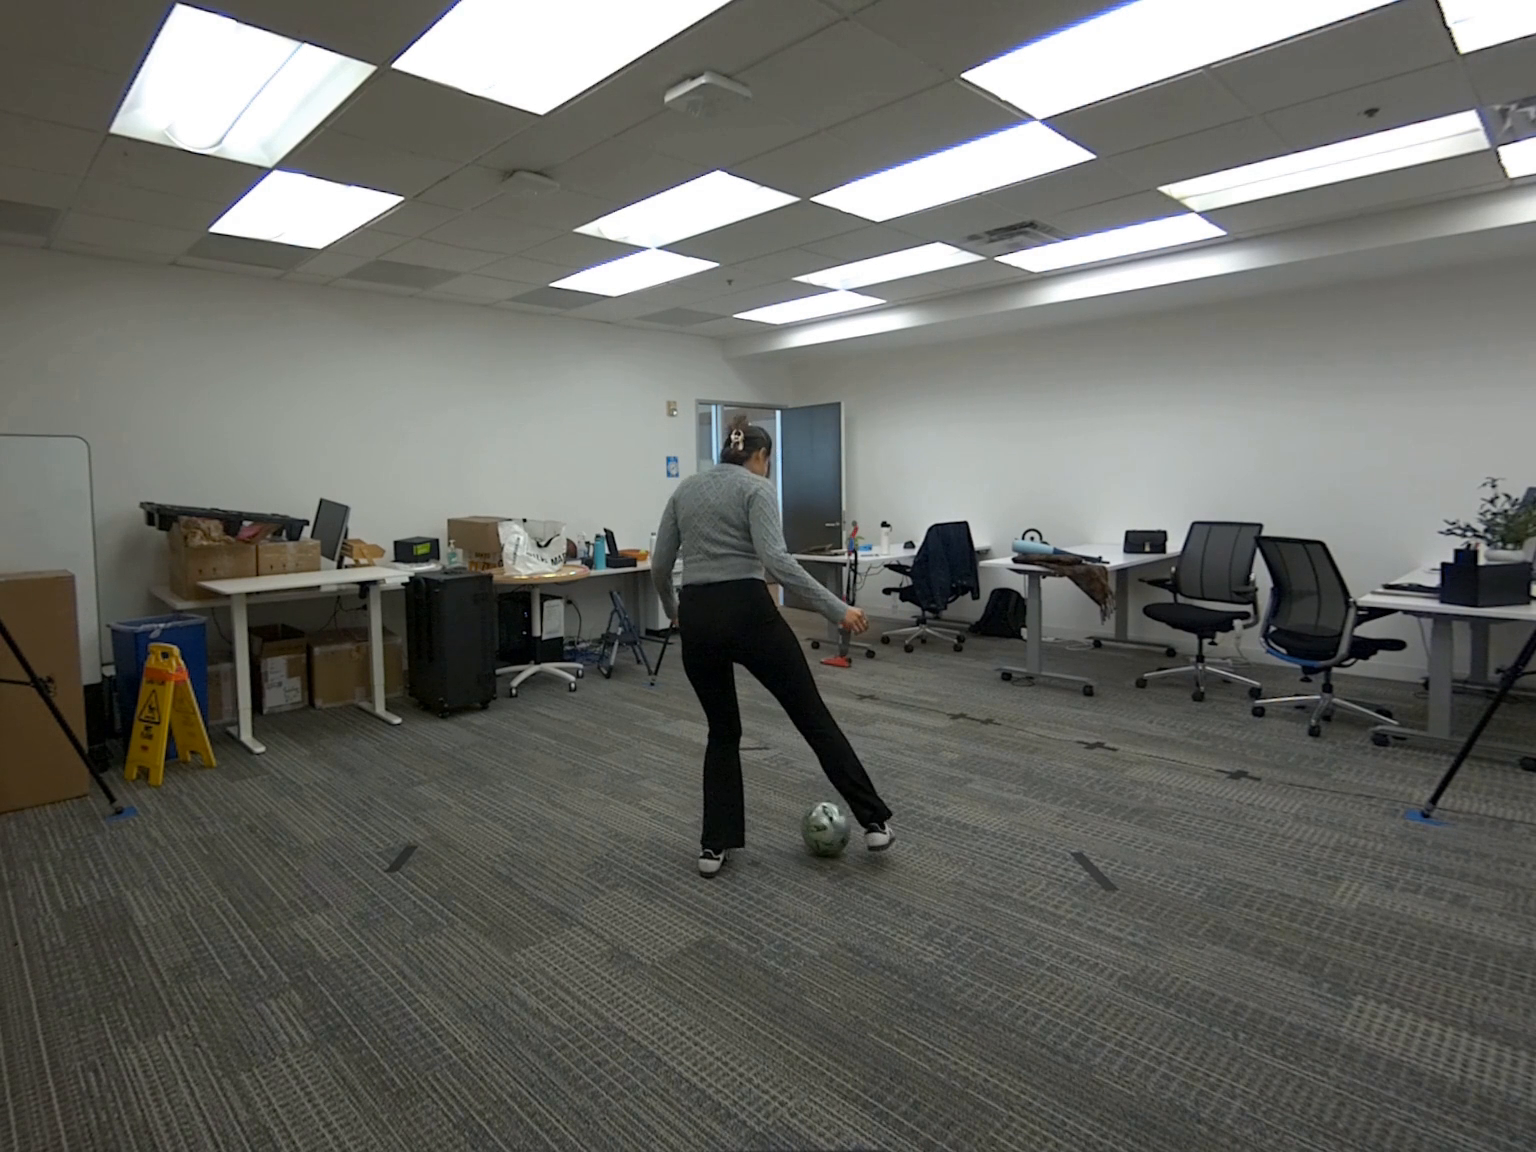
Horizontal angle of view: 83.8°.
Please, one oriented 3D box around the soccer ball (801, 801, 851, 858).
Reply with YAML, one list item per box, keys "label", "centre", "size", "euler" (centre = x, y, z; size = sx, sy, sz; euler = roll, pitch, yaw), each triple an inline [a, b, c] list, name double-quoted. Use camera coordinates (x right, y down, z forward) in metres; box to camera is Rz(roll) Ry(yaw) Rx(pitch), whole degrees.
- label: "soccer ball"
  centre: [0.195, 0.926, 3.173]
  size: [0.187, 0.187, 0.188]
  euler: [-1, 5, -2]
